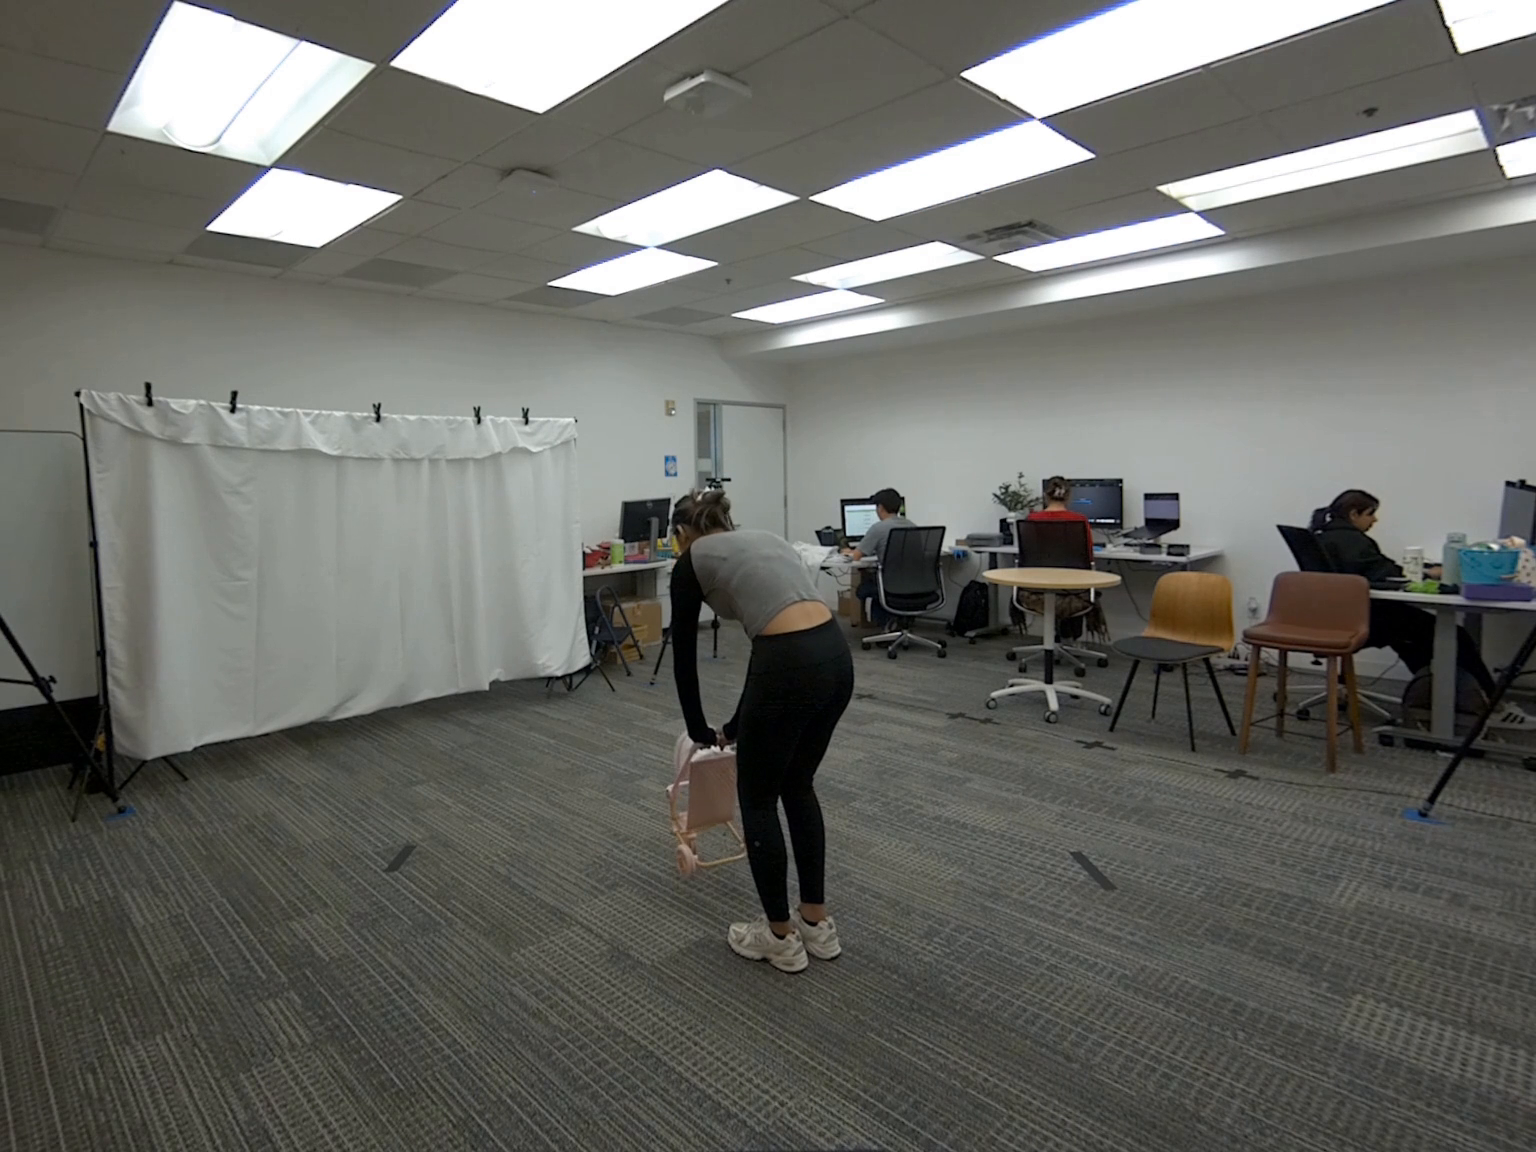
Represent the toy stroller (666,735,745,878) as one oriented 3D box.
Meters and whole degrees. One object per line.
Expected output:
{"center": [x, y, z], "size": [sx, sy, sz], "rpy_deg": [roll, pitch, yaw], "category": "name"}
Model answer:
{"center": [-0.210, 0.753, 2.919], "size": [0.276, 0.531, 0.350], "rpy_deg": [-4, 8, -24], "category": "toy stroller"}
